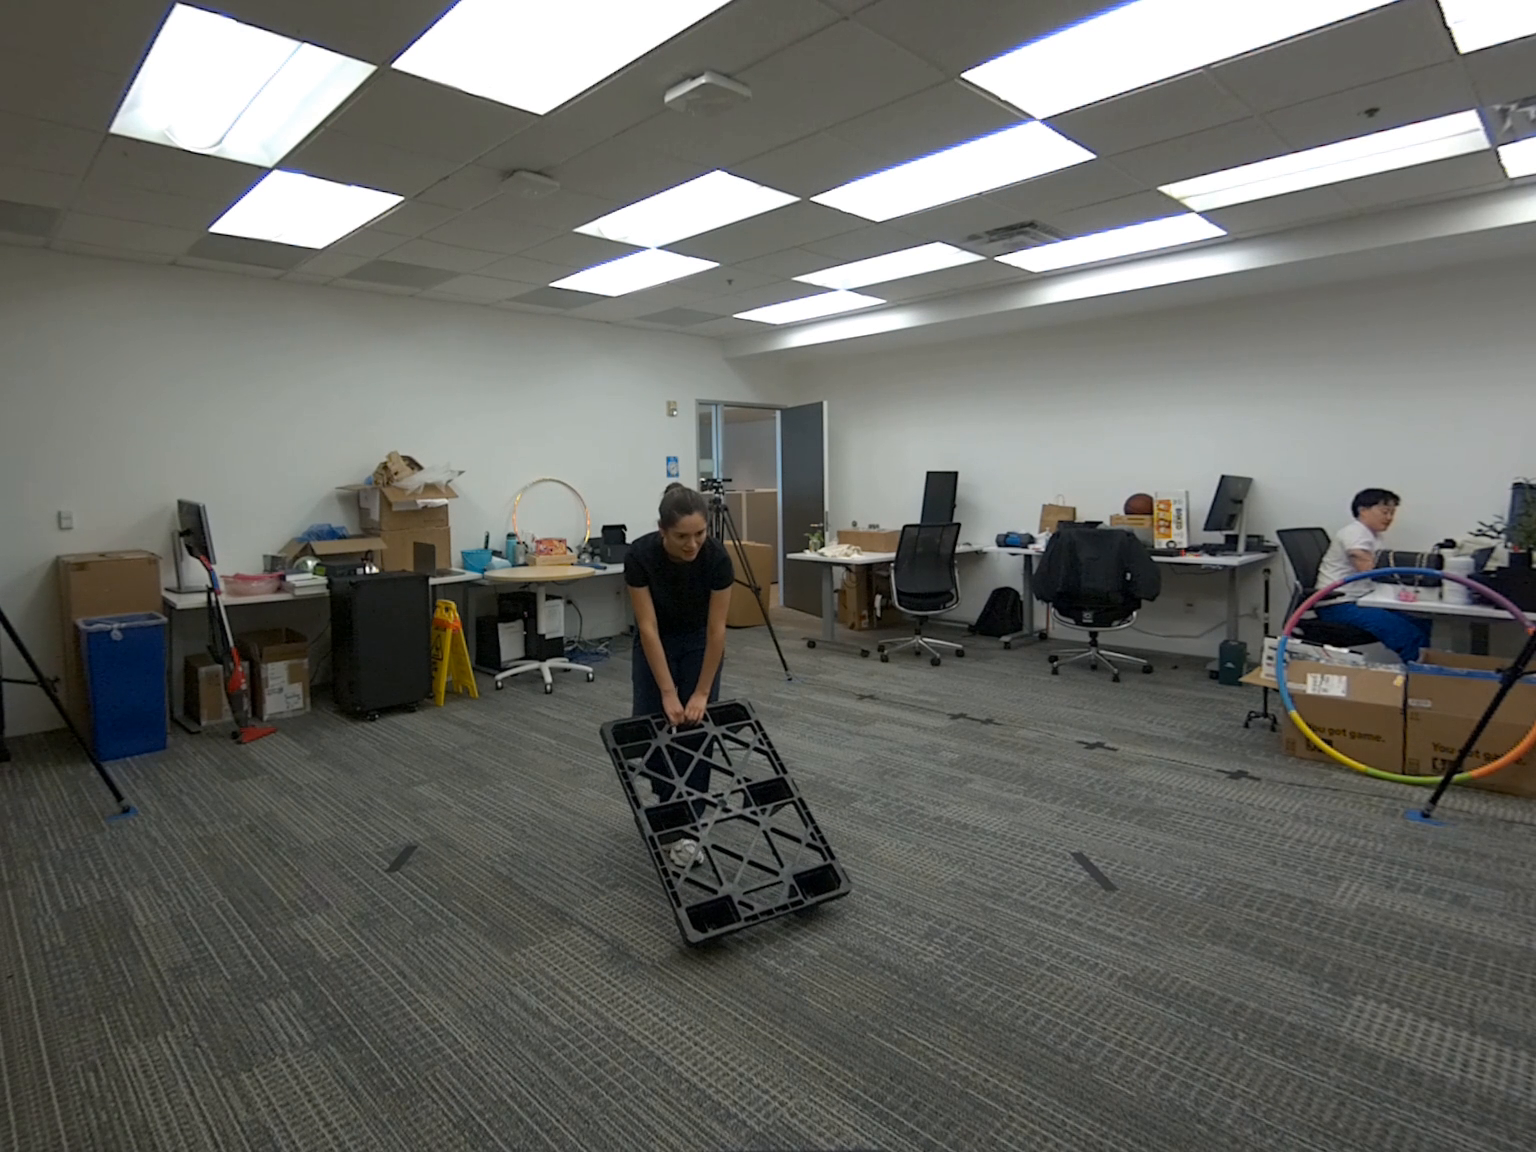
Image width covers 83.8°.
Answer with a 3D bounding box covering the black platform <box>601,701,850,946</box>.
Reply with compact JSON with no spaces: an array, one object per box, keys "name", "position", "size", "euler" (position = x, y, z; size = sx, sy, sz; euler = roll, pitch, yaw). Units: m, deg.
[{"name":"black platform","position":[-0.168,0.793,2.882],"size":[0.590,0.141,0.836],"euler":[-4,43,-32]}]
